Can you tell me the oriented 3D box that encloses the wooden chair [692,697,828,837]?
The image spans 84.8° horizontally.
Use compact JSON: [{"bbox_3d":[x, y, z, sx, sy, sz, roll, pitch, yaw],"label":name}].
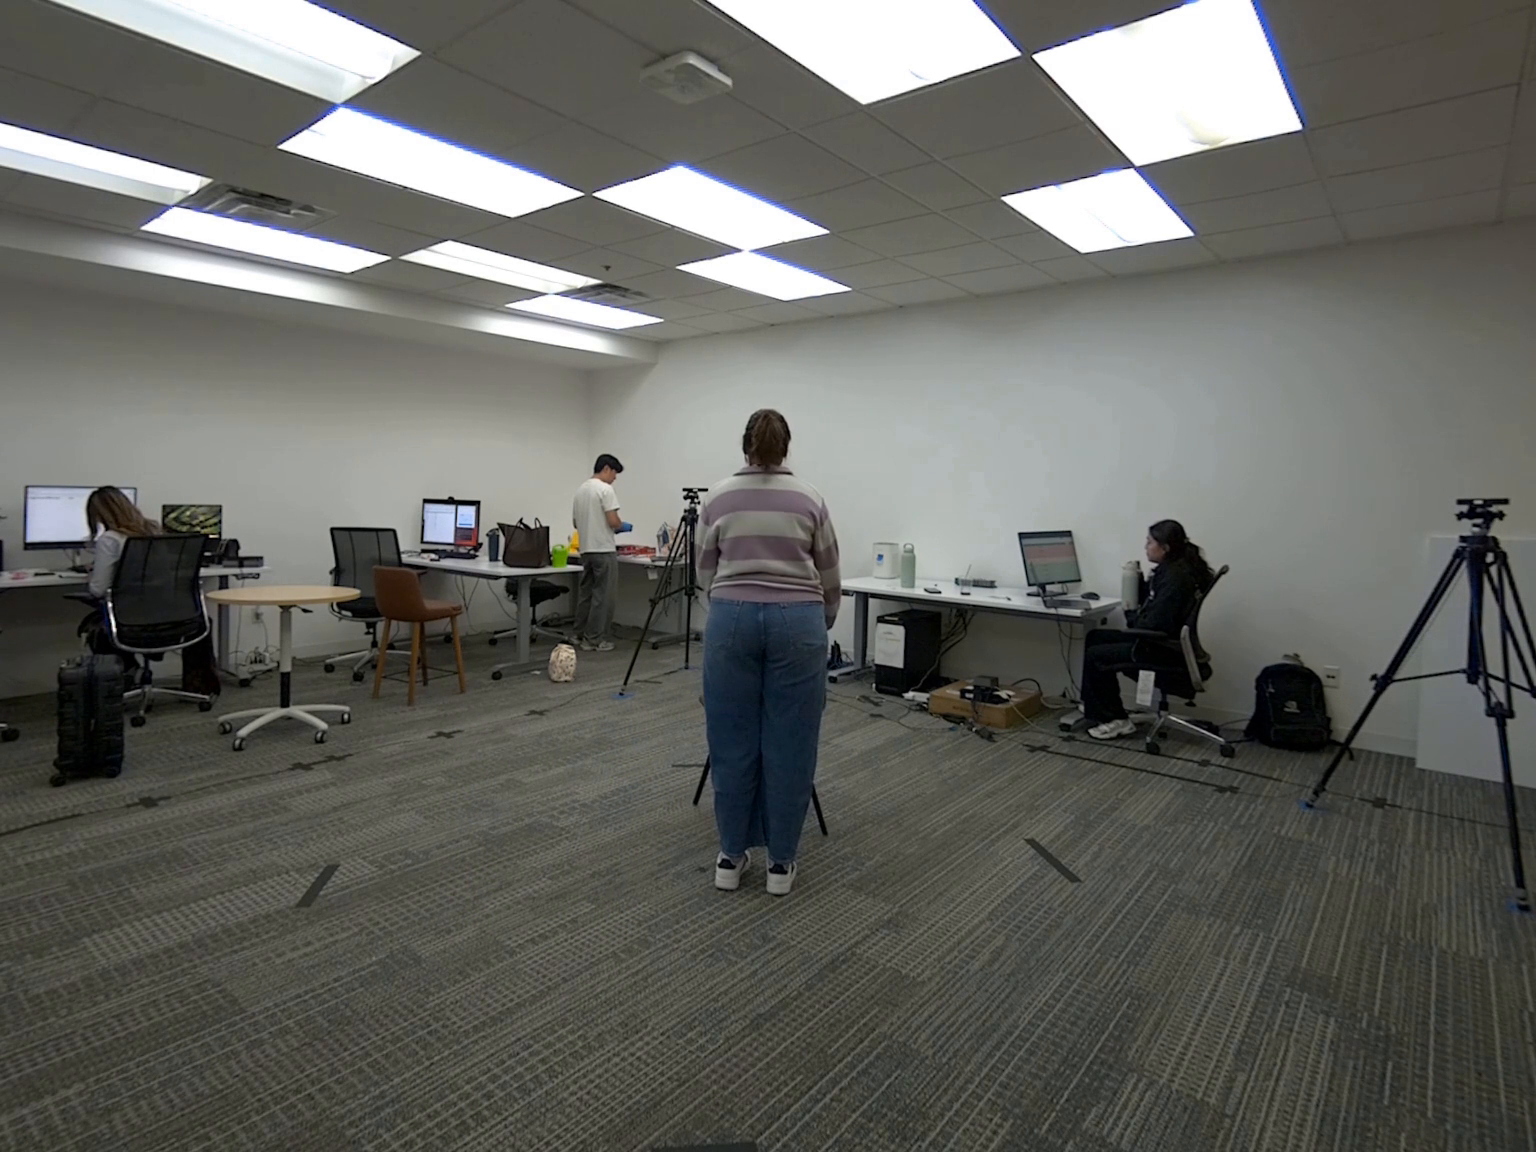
[{"bbox_3d":[-0.054,0.593,3.576,0.470,0.871,0.536,-1,8,-17],"label":"wooden chair"}]
